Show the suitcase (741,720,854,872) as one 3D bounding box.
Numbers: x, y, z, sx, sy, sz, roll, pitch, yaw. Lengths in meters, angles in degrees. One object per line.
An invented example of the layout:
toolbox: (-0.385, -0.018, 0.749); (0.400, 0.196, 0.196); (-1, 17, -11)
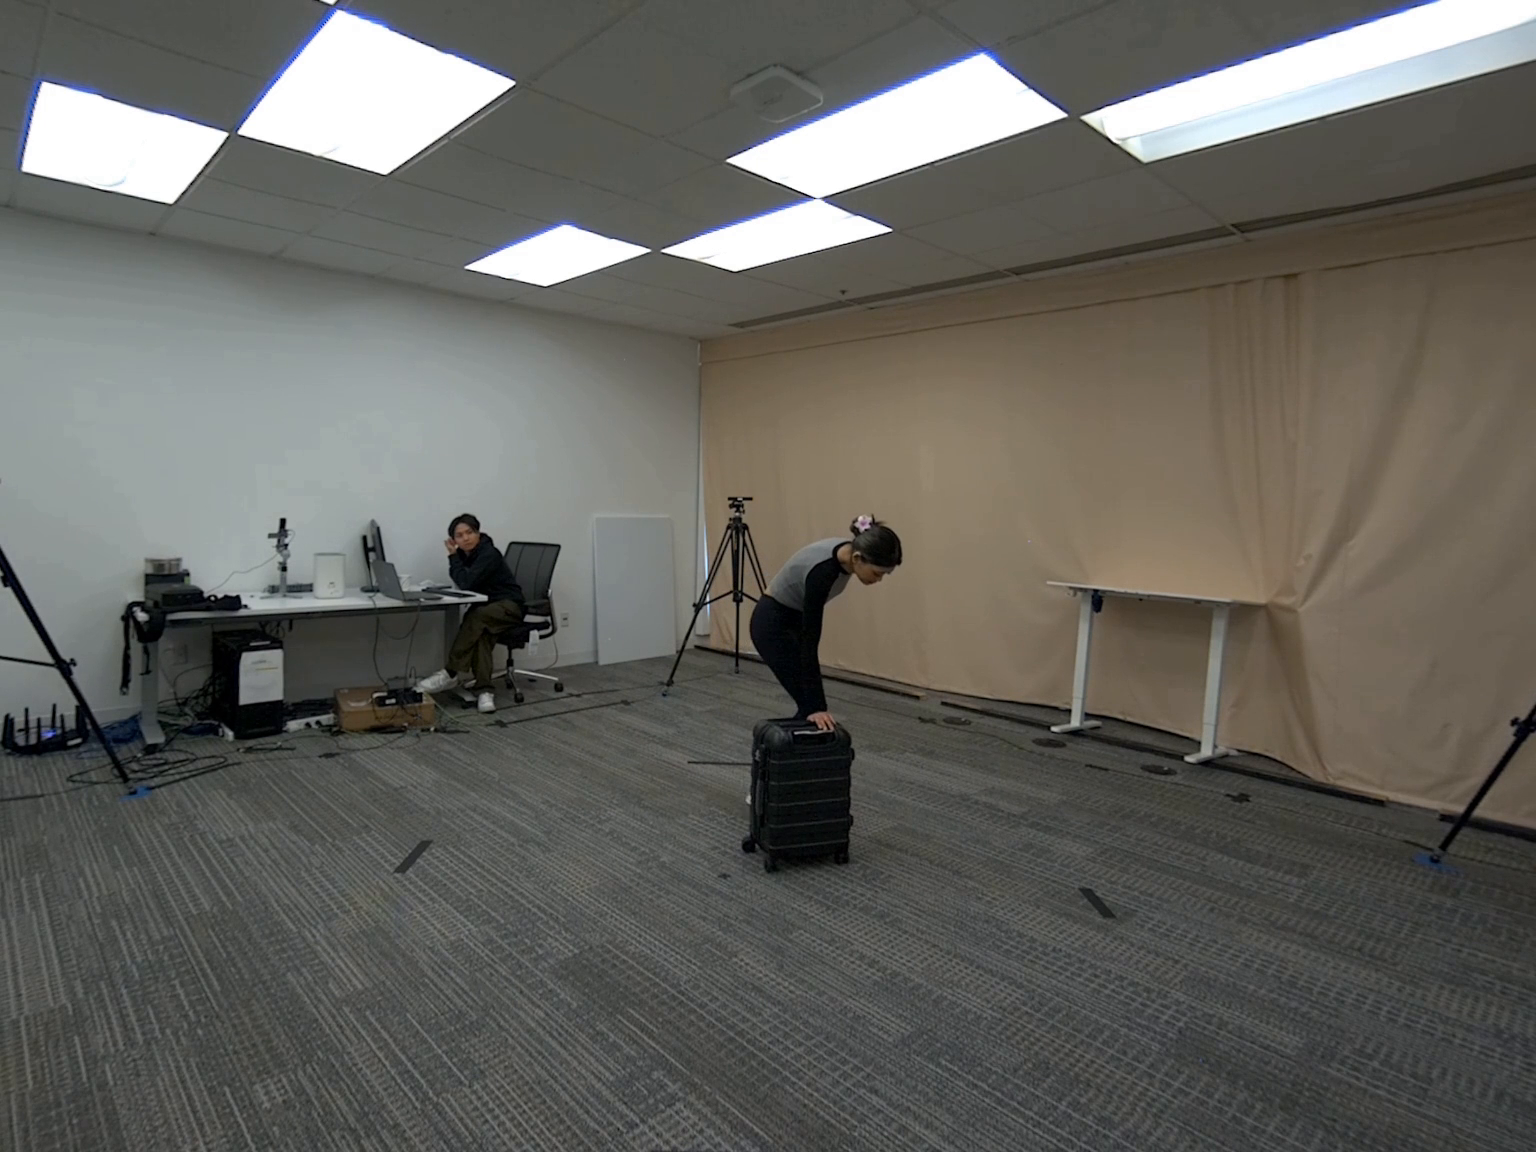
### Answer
suitcase: (0.112, 0.823, 3.262); (0.370, 0.547, 0.253); (1, 5, -20)
